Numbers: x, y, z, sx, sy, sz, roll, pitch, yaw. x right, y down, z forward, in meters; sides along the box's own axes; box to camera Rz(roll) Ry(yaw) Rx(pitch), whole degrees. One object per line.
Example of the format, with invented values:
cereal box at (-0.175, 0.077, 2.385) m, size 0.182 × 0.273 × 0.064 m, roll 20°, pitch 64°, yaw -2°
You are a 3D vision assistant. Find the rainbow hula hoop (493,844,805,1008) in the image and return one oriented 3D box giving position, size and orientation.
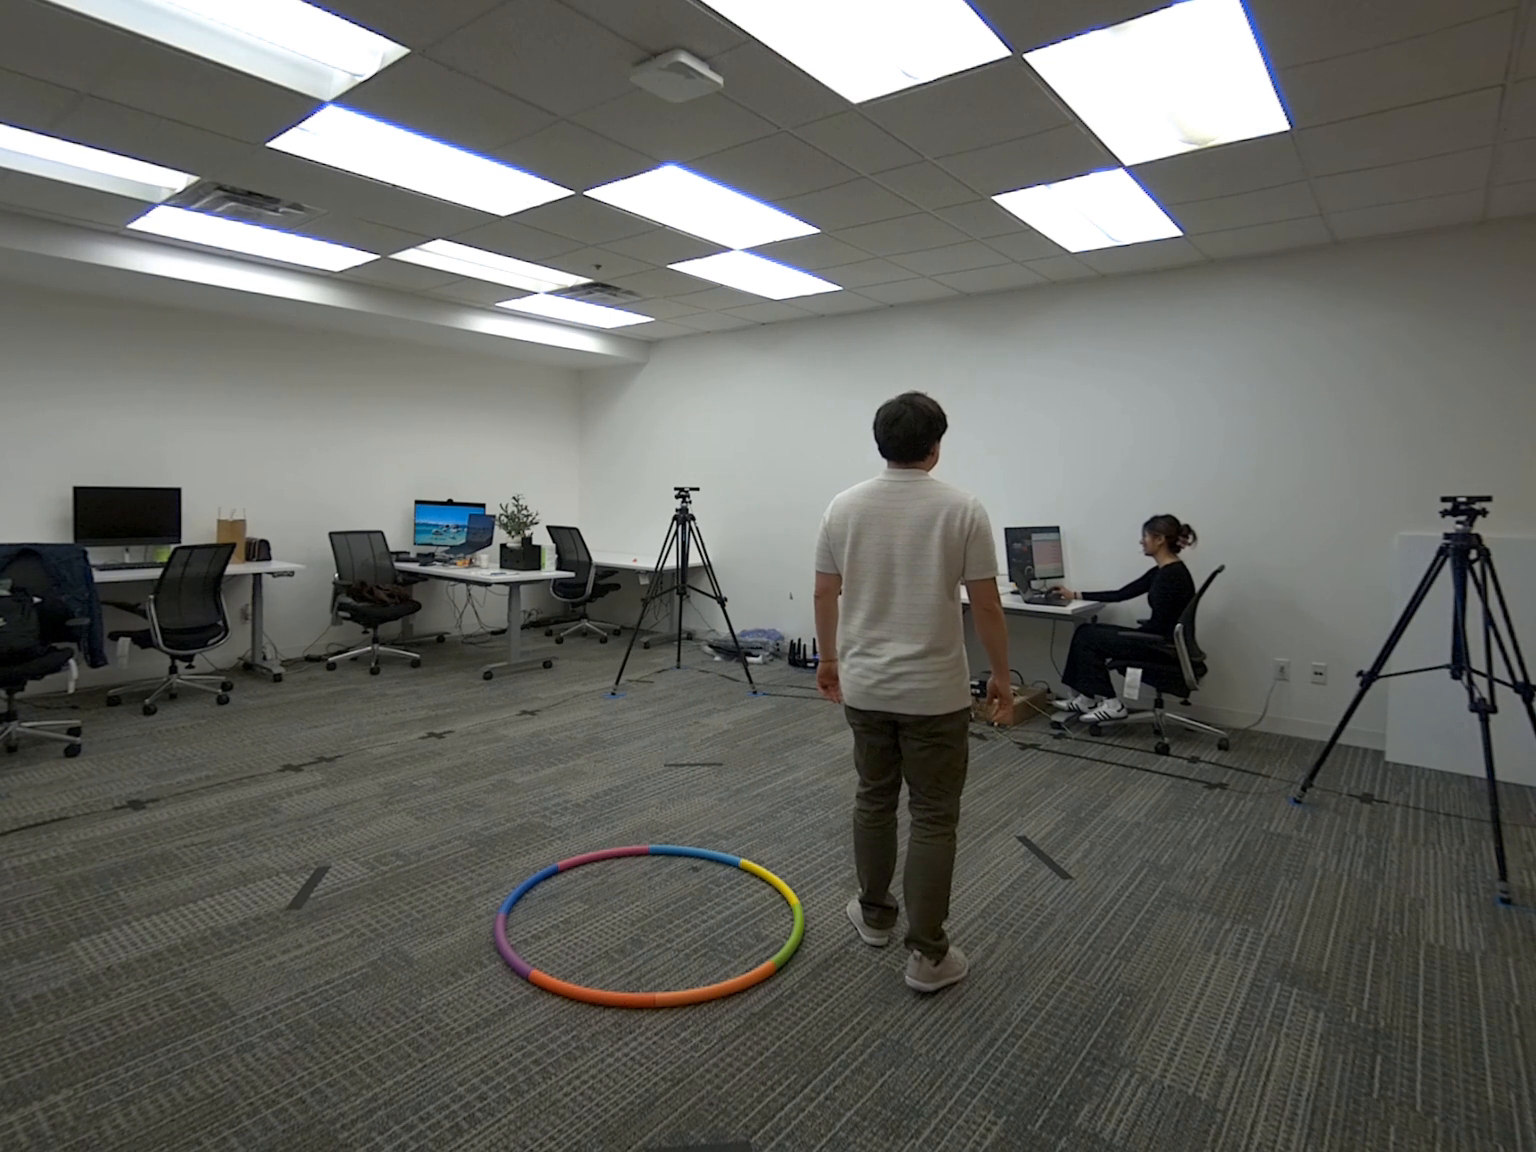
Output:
rainbow hula hoop at (-0.383, 1.069, 2.749) m, size 0.978 × 0.035 × 0.984 m, roll 1°, pitch 6°, yaw -2°
